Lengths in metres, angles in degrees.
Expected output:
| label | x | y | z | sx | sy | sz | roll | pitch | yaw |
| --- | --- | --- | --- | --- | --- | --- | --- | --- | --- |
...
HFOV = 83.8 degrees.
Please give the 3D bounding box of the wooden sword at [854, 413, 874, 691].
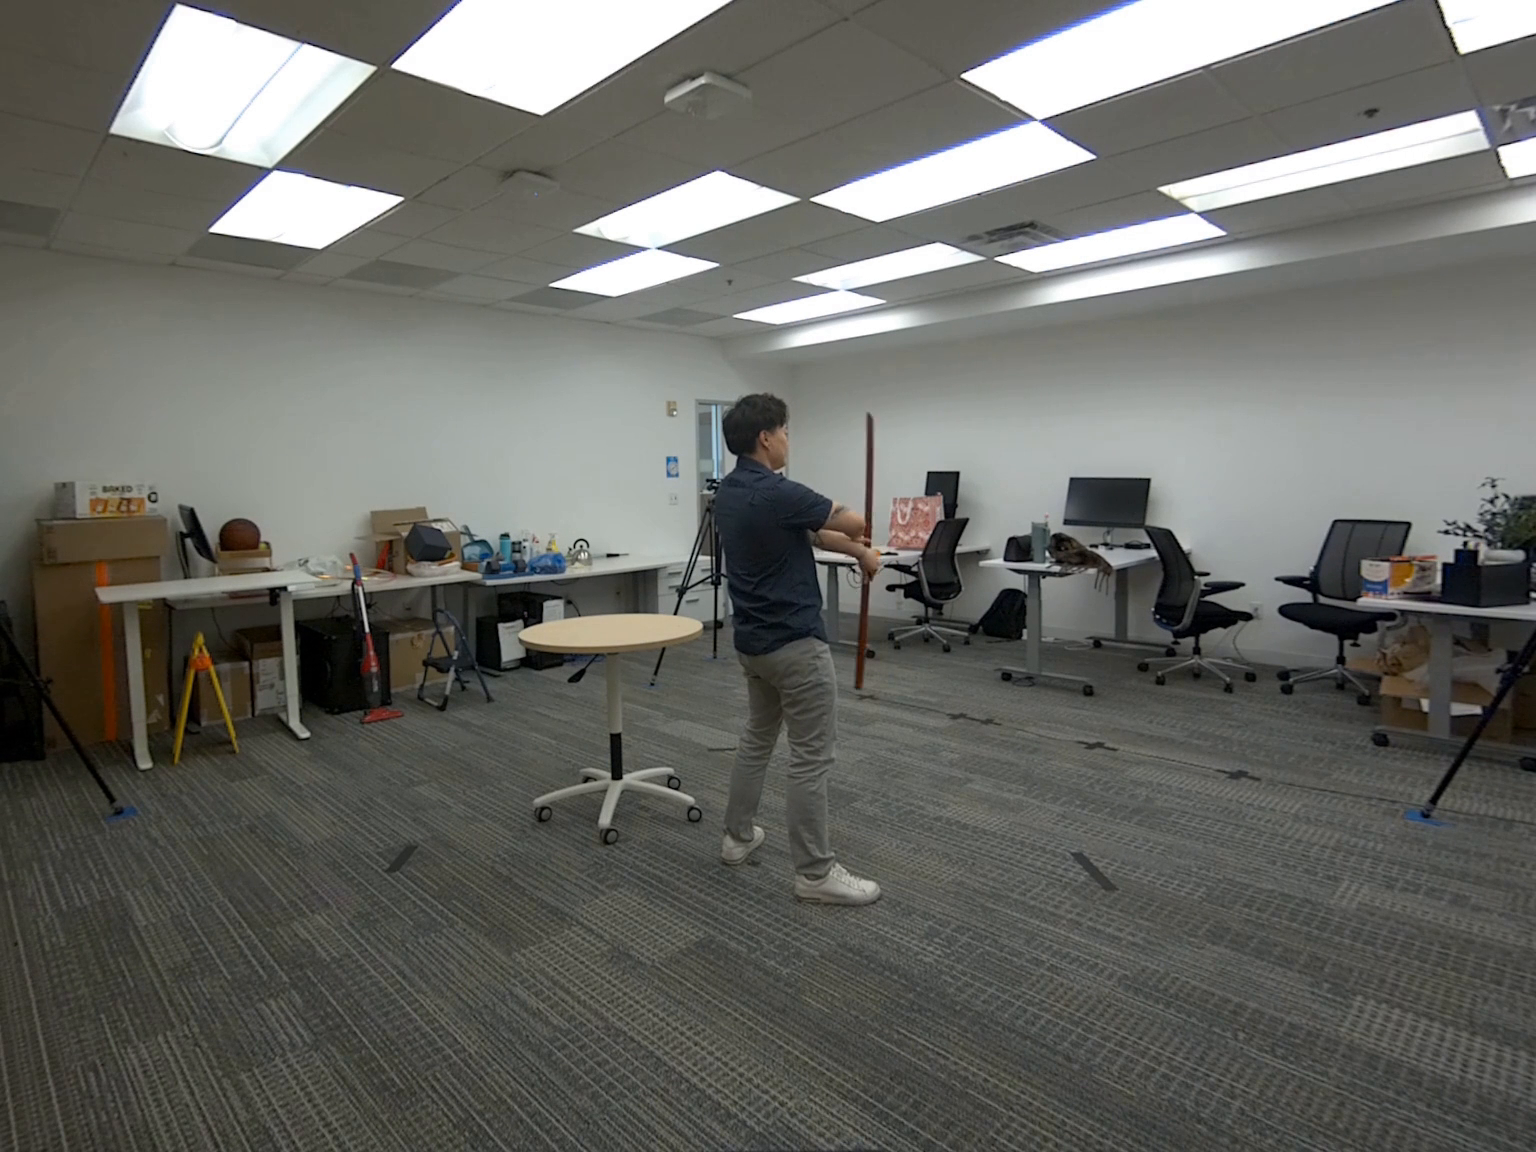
| label | x | y | z | sx | sy | sz | roll | pitch | yaw |
| --- | --- | --- | --- | --- | --- | --- | --- | --- | --- |
| wooden sword | 0.372 | -0.082 | 3.177 | 0.051 | 1.021 | 0.024 | 0 | 3 | -10 |
